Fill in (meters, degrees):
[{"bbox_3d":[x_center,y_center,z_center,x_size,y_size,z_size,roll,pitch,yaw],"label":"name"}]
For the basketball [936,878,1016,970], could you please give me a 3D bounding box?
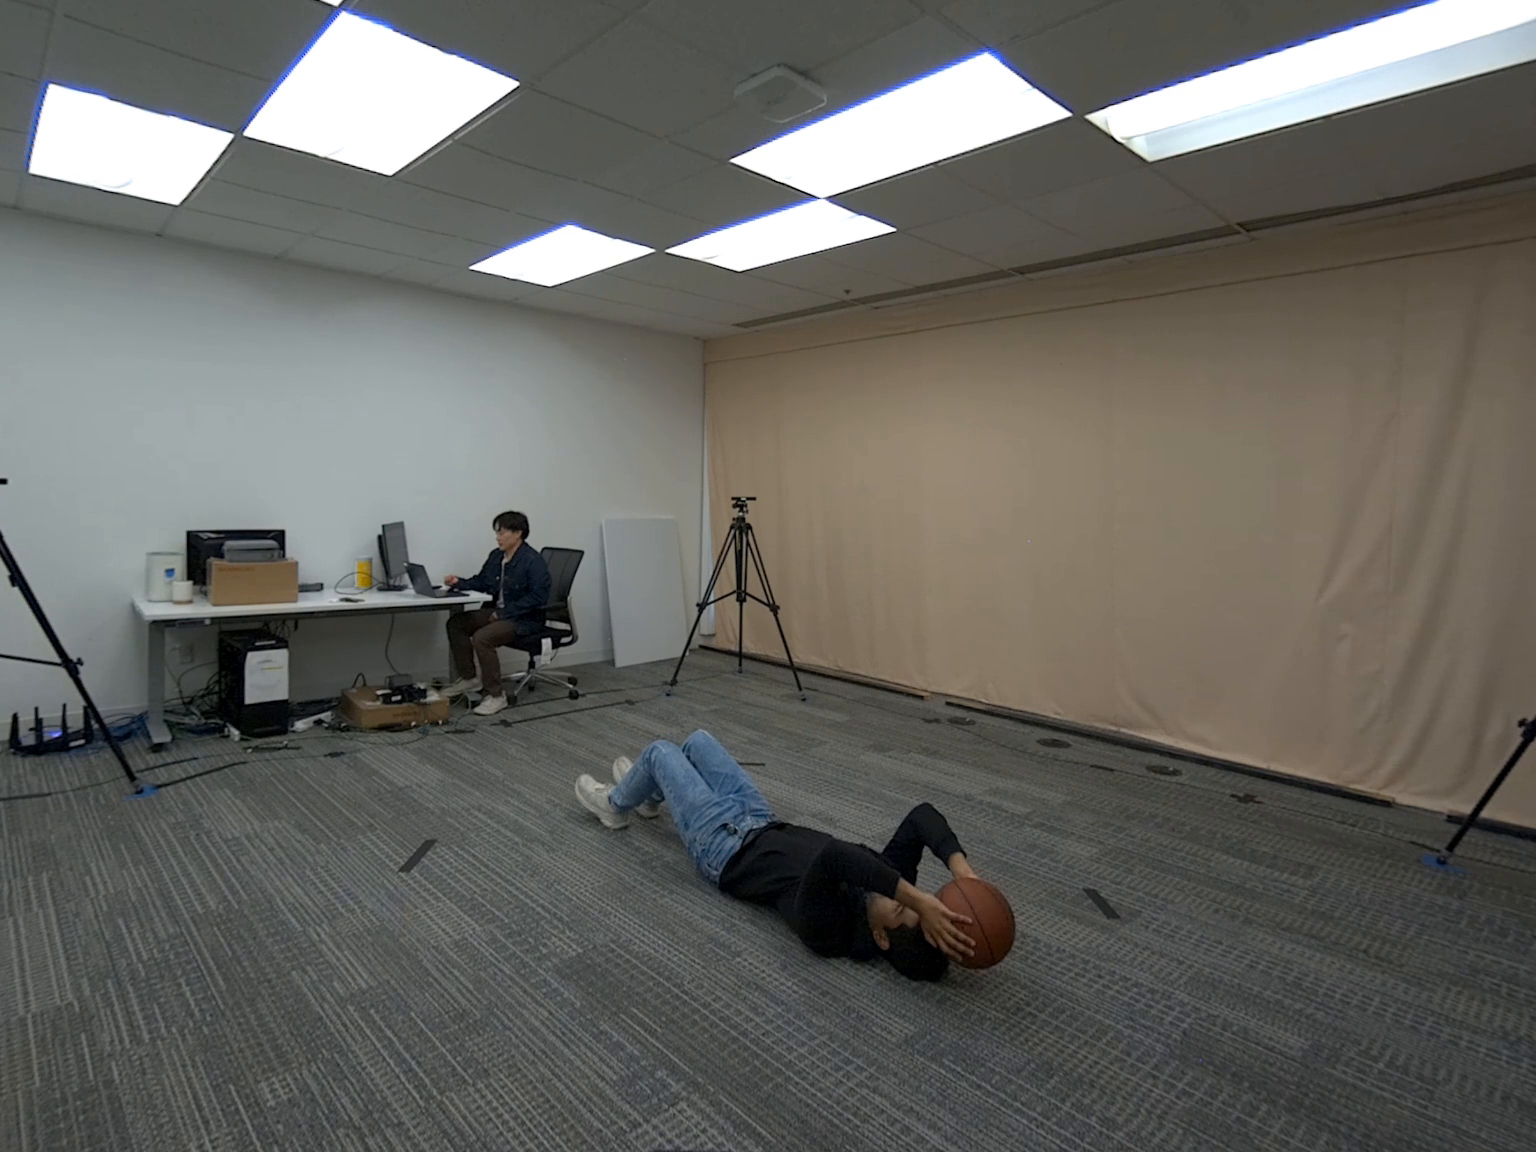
[{"bbox_3d":[0.569,0.976,2.397,0.236,0.235,0.237,1,4,-1],"label":"basketball"}]
